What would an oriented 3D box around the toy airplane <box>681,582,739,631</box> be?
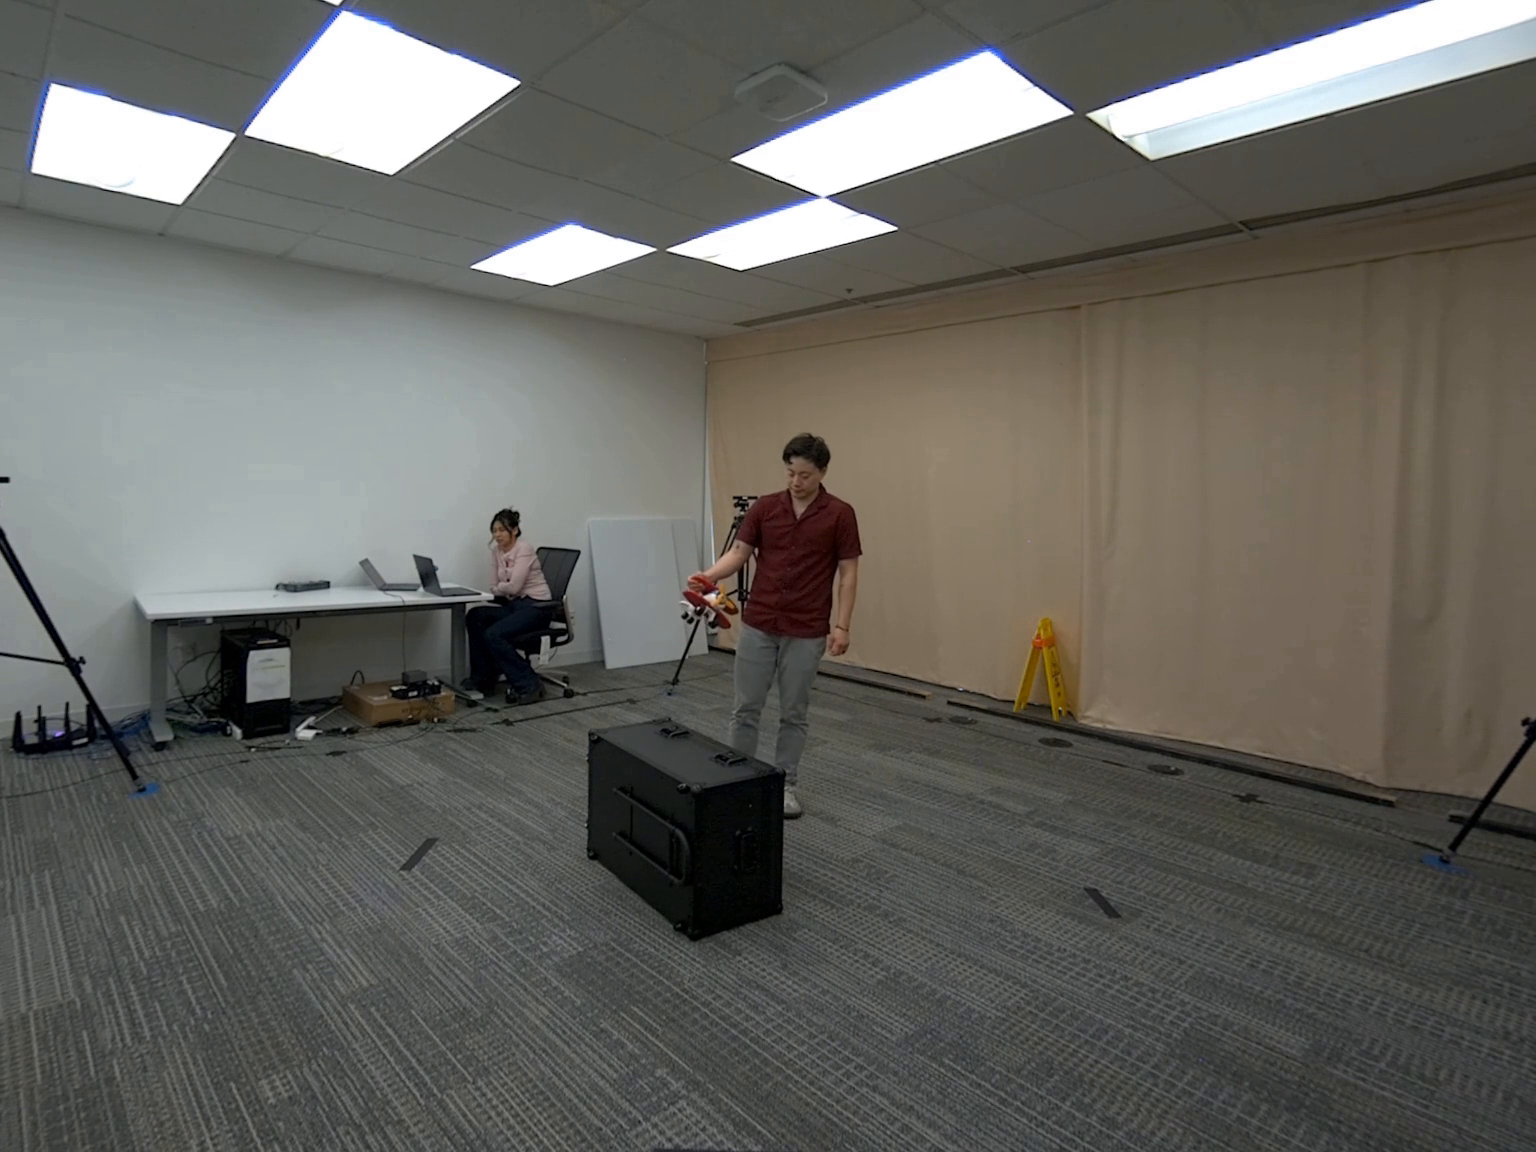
[{"bbox_3d":[-0.291,0.119,3.573,0.267,0.157,0.243,19,-25,37],"label":"toy airplane"}]
